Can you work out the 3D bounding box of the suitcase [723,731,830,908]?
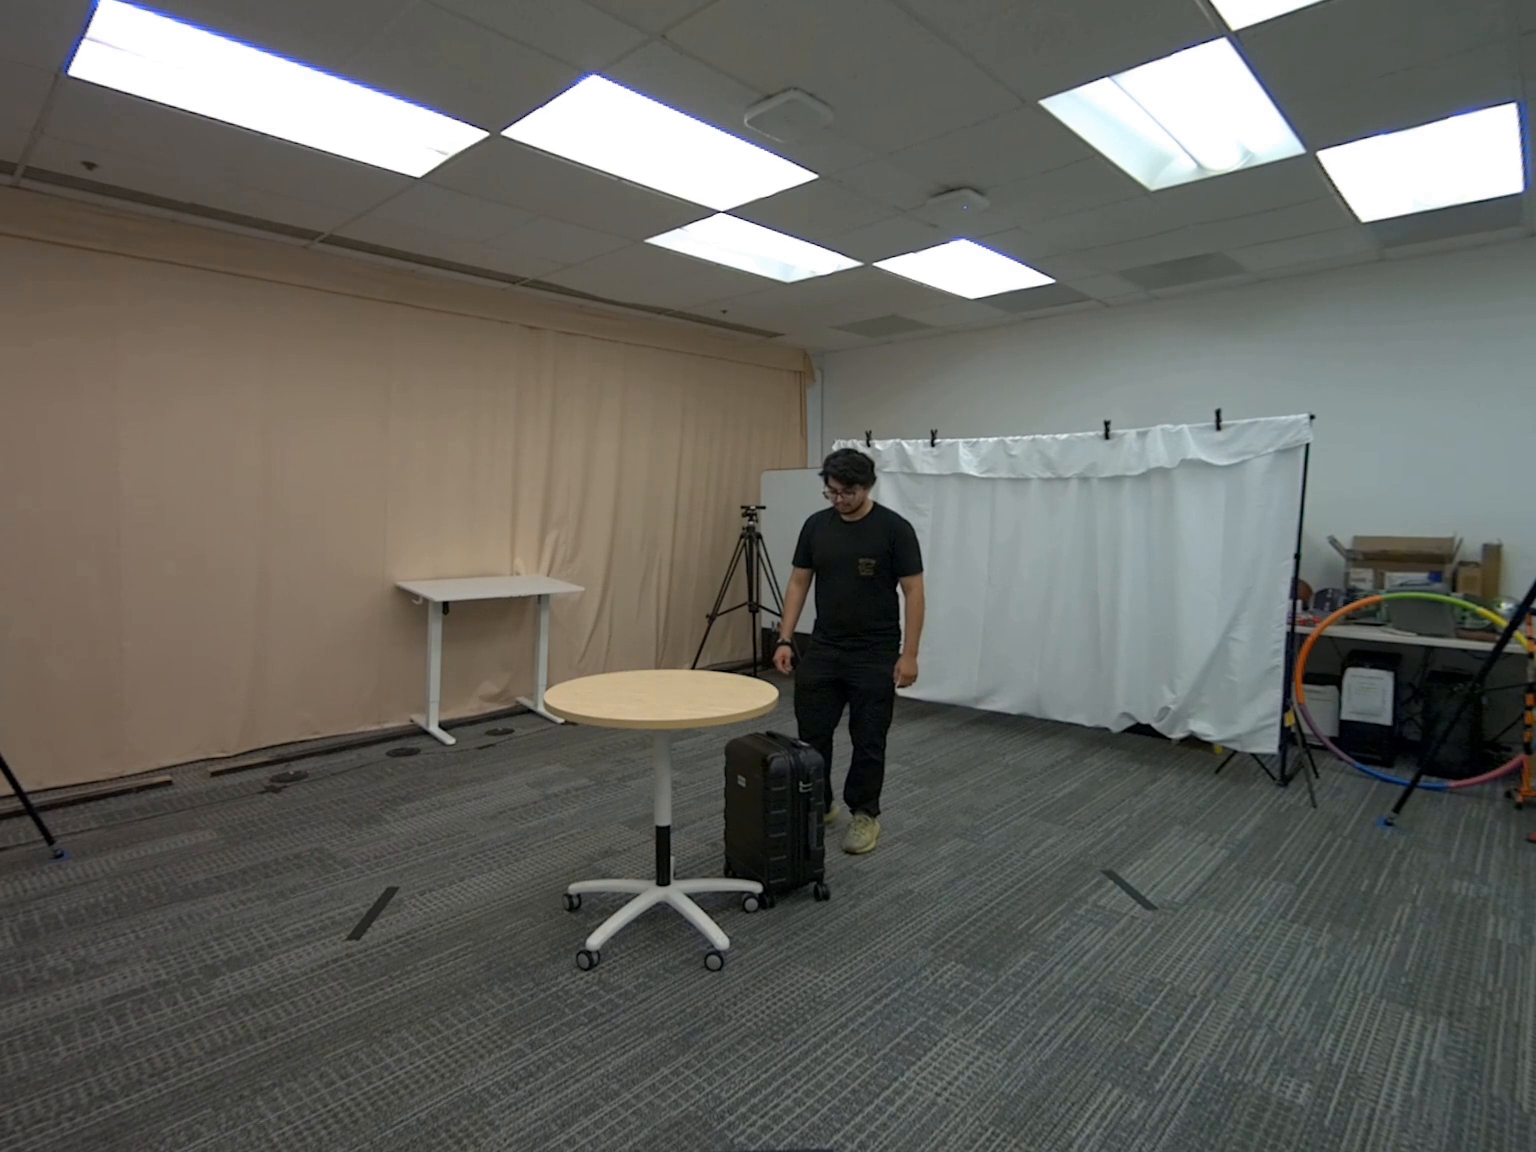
[{"bbox_3d":[0.018,0.857,3.065,0.242,0.548,0.386,-2,3,-29],"label":"suitcase"}]
